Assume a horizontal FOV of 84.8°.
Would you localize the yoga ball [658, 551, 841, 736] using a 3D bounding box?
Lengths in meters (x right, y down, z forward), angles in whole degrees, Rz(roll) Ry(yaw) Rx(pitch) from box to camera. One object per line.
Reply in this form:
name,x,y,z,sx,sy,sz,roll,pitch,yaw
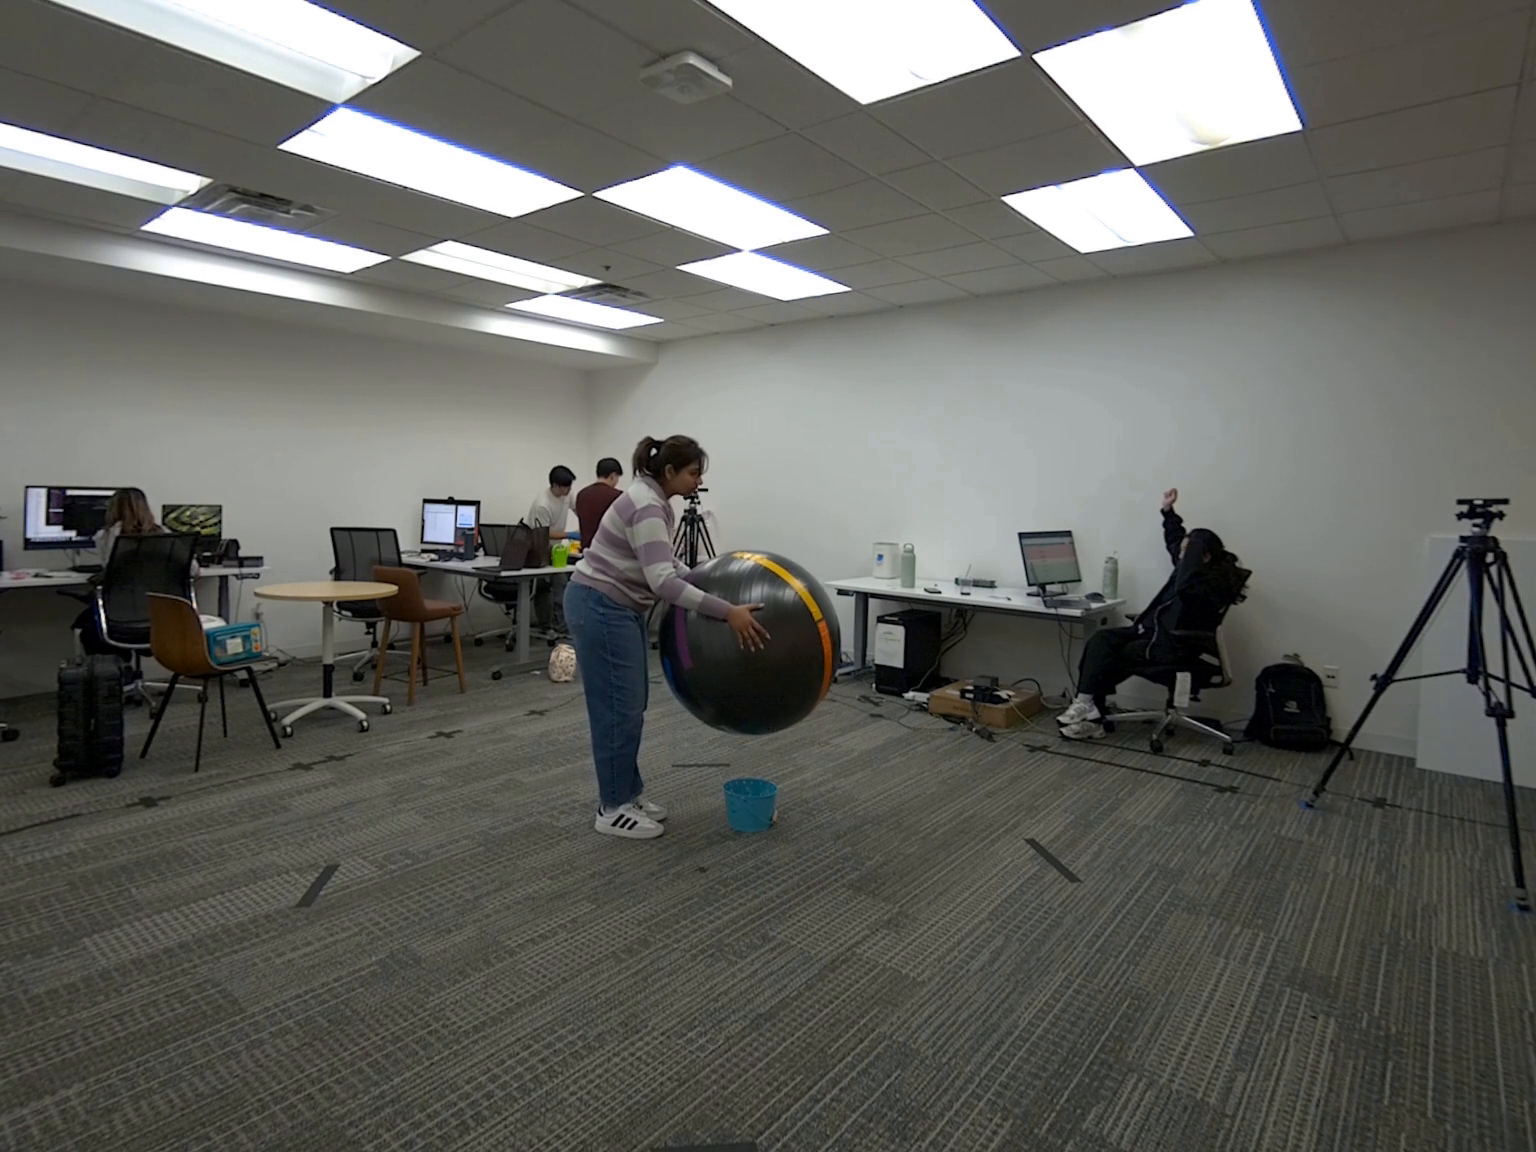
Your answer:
yoga ball,-0.086,0.271,3.529,0.757,0.756,0.761,1,4,-2
